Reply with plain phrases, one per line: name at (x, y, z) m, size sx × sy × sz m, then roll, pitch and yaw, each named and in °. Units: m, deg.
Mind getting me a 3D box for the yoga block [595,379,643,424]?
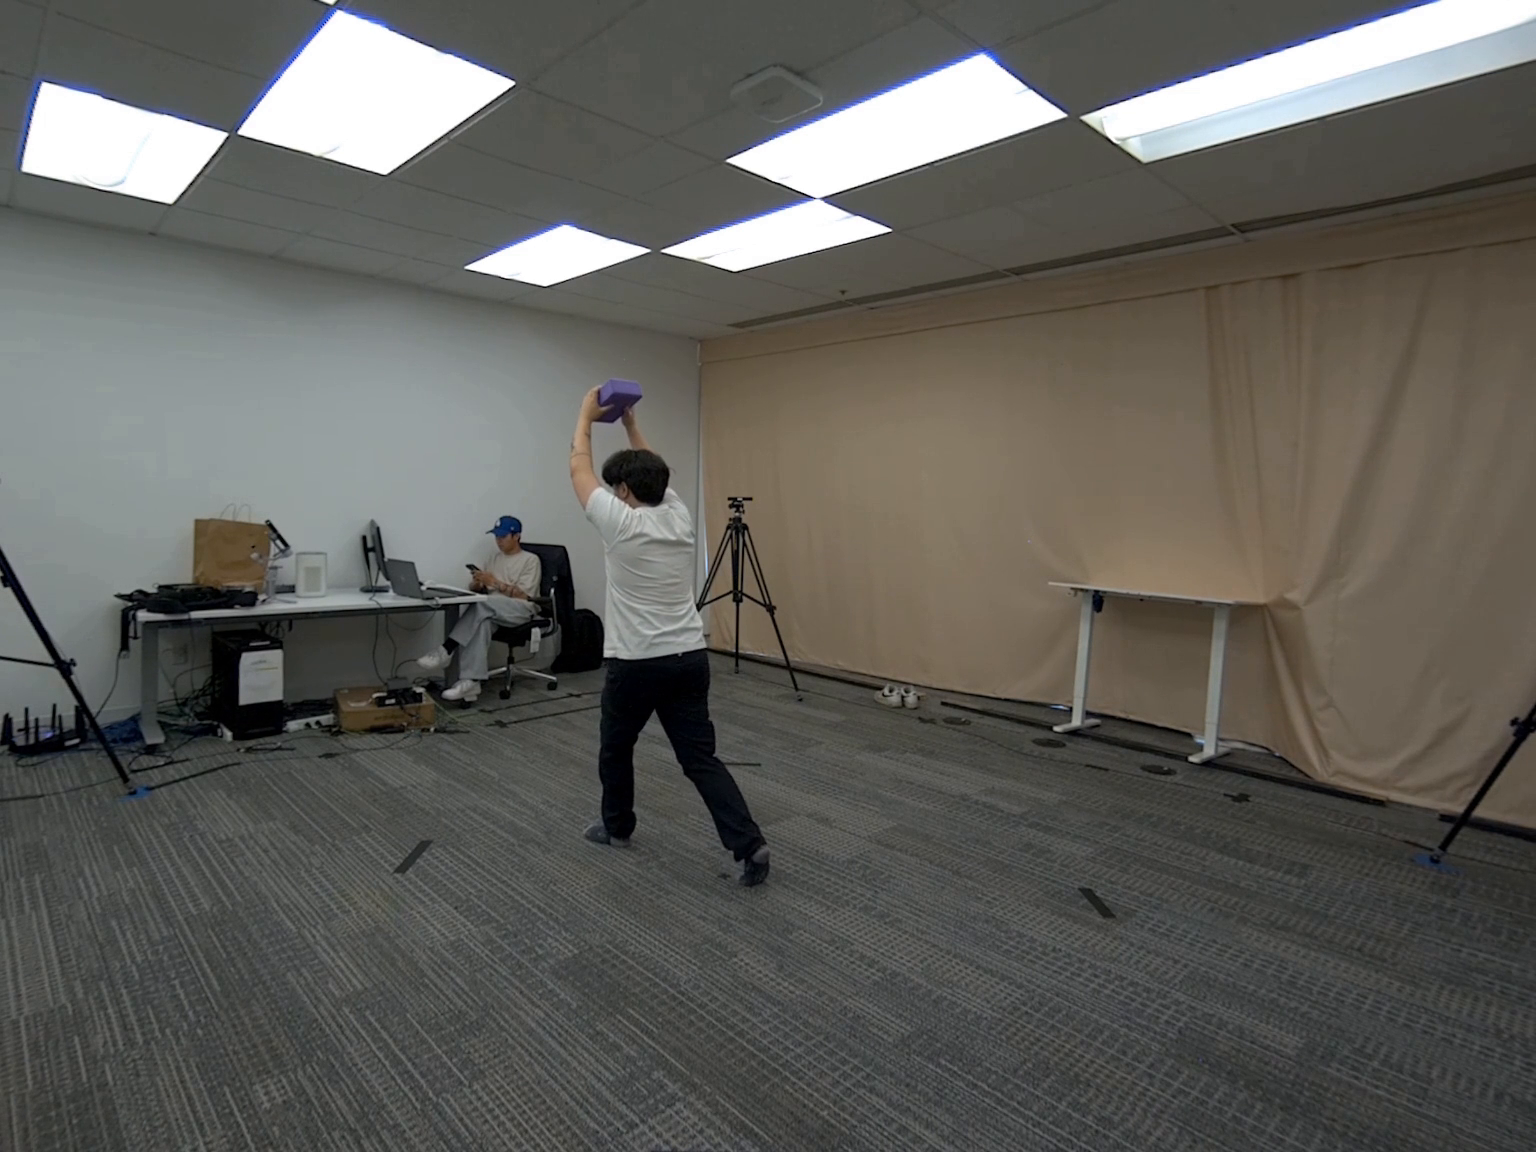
yoga block at (-0.636, -0.697, 3.405) m, size 0.146 × 0.077 × 0.231 m, roll -5°, pitch -17°, yaw -47°
